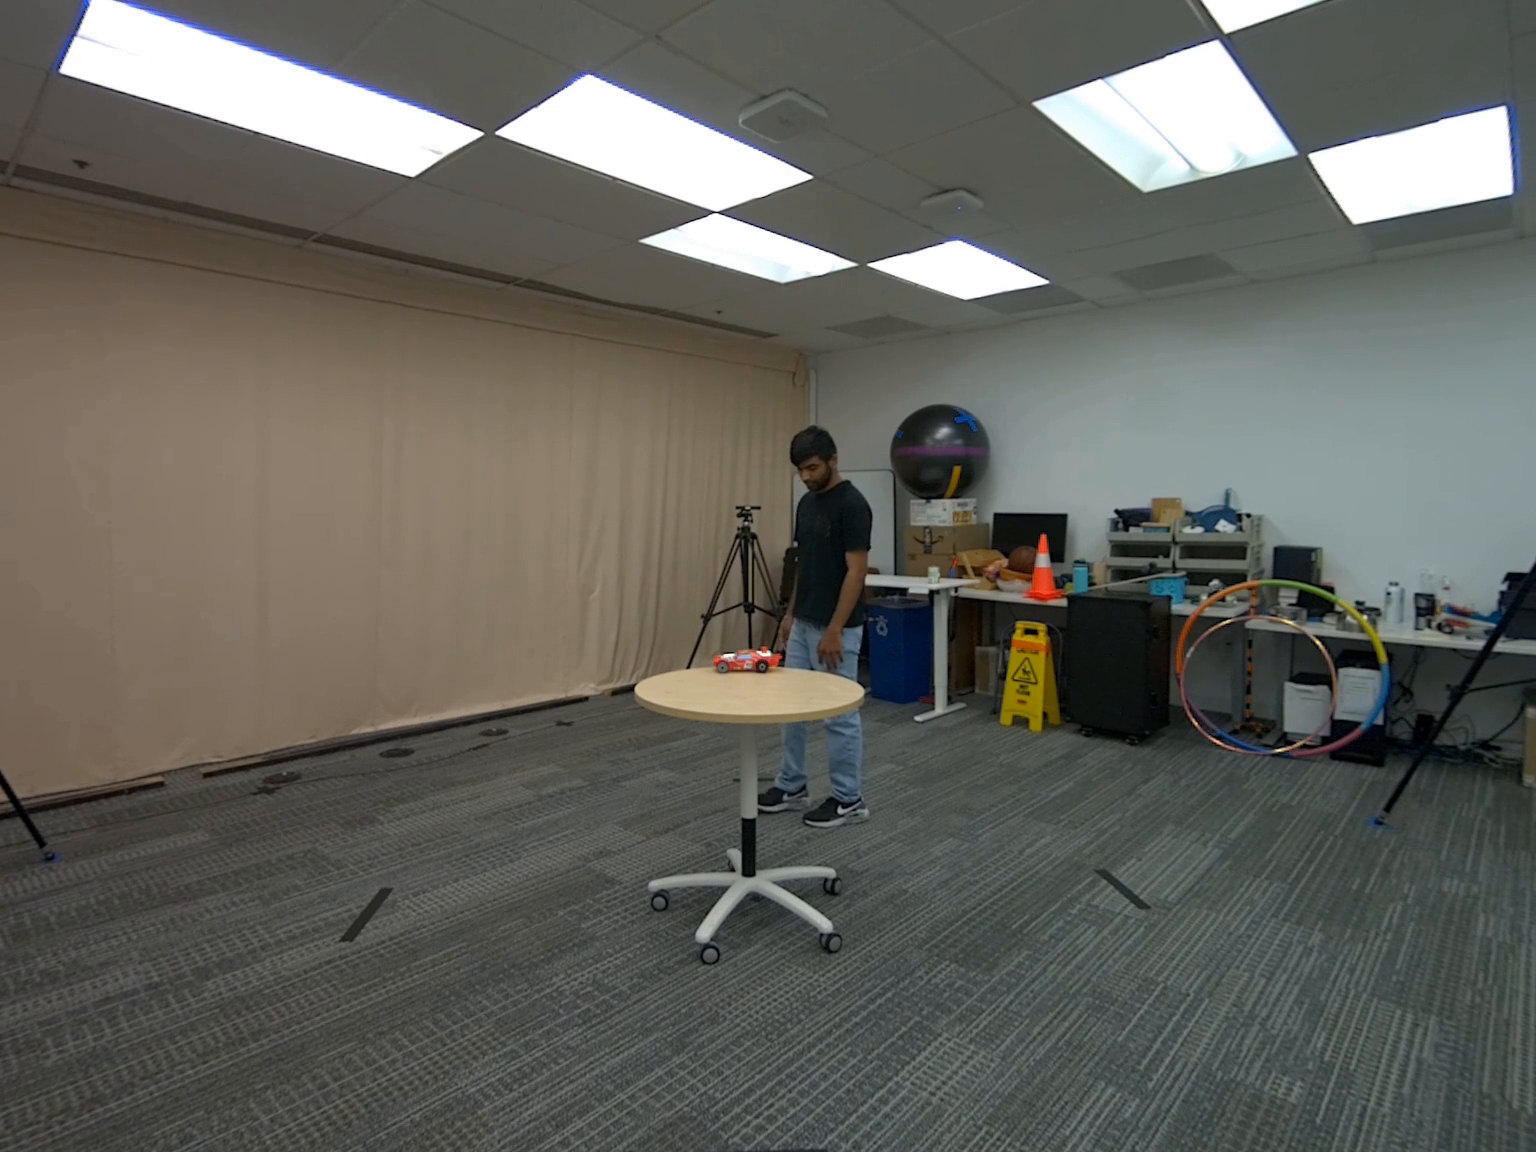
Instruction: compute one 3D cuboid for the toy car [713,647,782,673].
[{"bbox_3d":[-0.071,0.320,3.122,0.255,0.083,0.131,-11,4,0],"label":"toy car"}]
